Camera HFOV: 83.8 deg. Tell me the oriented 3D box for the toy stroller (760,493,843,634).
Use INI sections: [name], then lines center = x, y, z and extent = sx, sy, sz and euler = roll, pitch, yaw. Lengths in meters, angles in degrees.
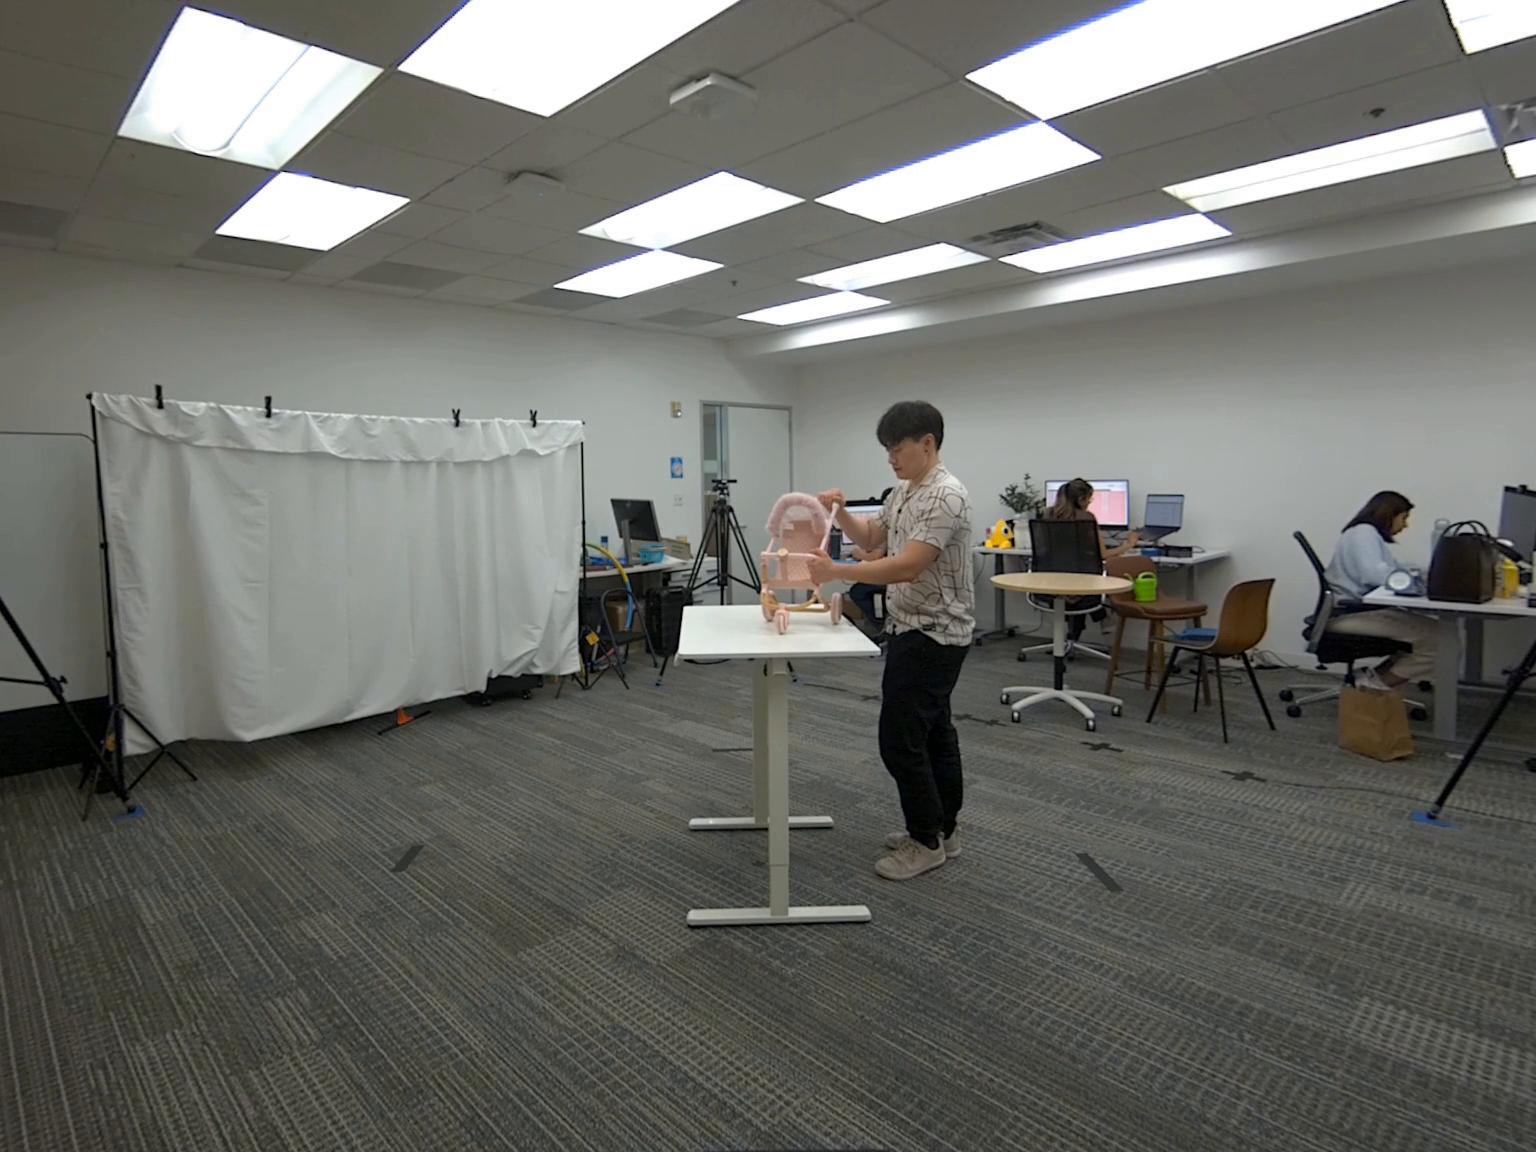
[toy stroller]
center = 0.105, -0.054, 3.000
extent = 0.287, 0.539, 0.331
euler = 0, -10, 23
